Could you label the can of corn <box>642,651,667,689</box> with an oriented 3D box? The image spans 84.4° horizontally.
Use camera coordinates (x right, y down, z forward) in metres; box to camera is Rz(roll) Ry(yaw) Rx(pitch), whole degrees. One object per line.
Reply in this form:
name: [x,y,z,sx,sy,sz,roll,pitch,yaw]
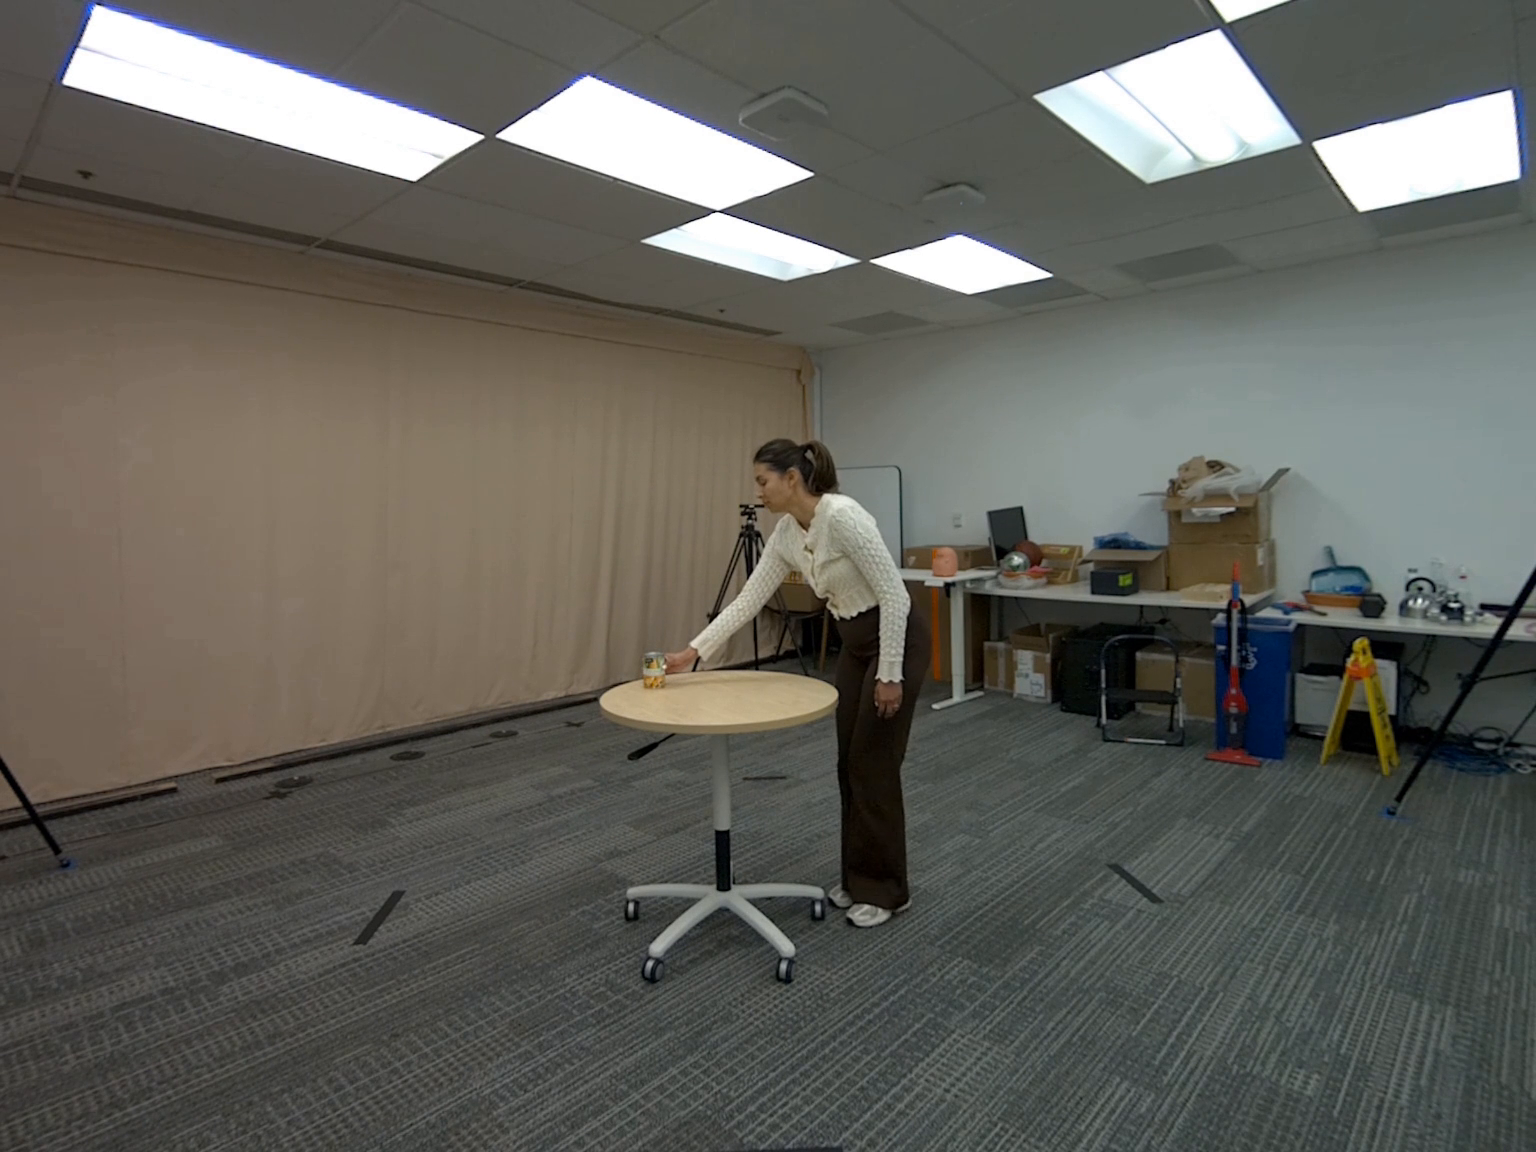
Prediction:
can of corn: [-0.380,0.321,2.861,0.074,0.111,0.074,0,0,-2]
